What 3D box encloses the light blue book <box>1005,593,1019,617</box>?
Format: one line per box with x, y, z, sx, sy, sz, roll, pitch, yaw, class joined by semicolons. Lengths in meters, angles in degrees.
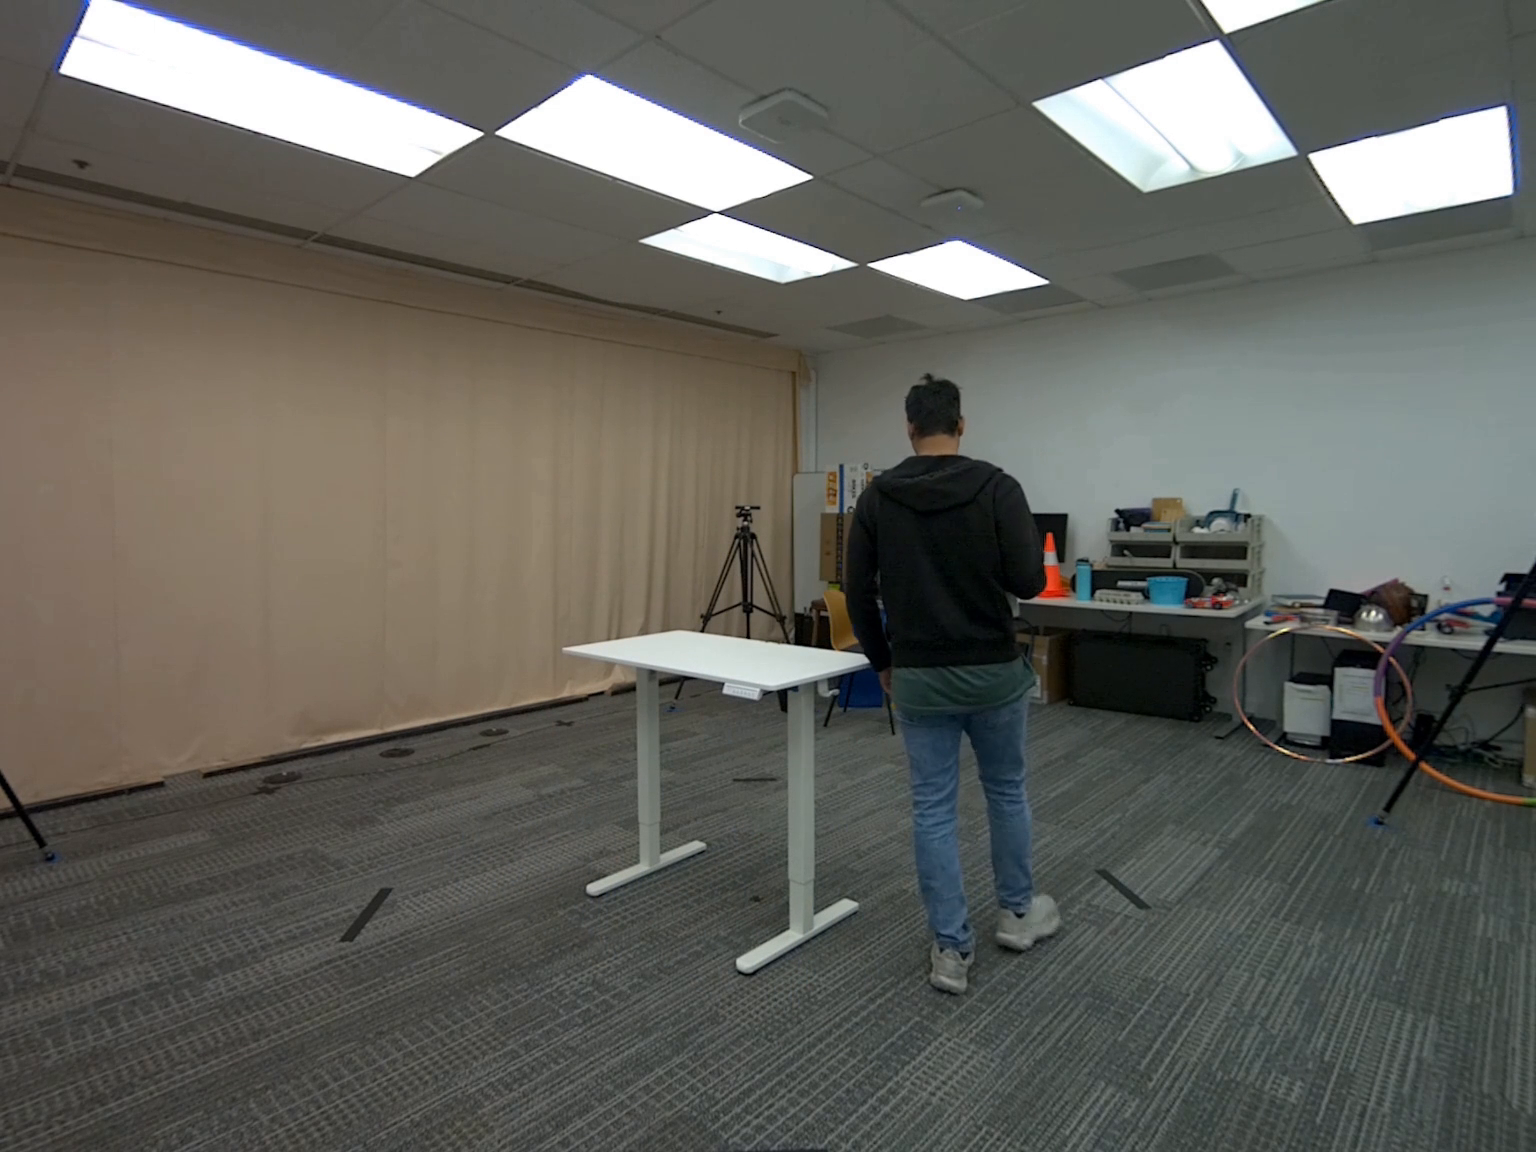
0.720;-0.004;2.559;0.059;0.190;0.260;-8;11;9;light blue book
